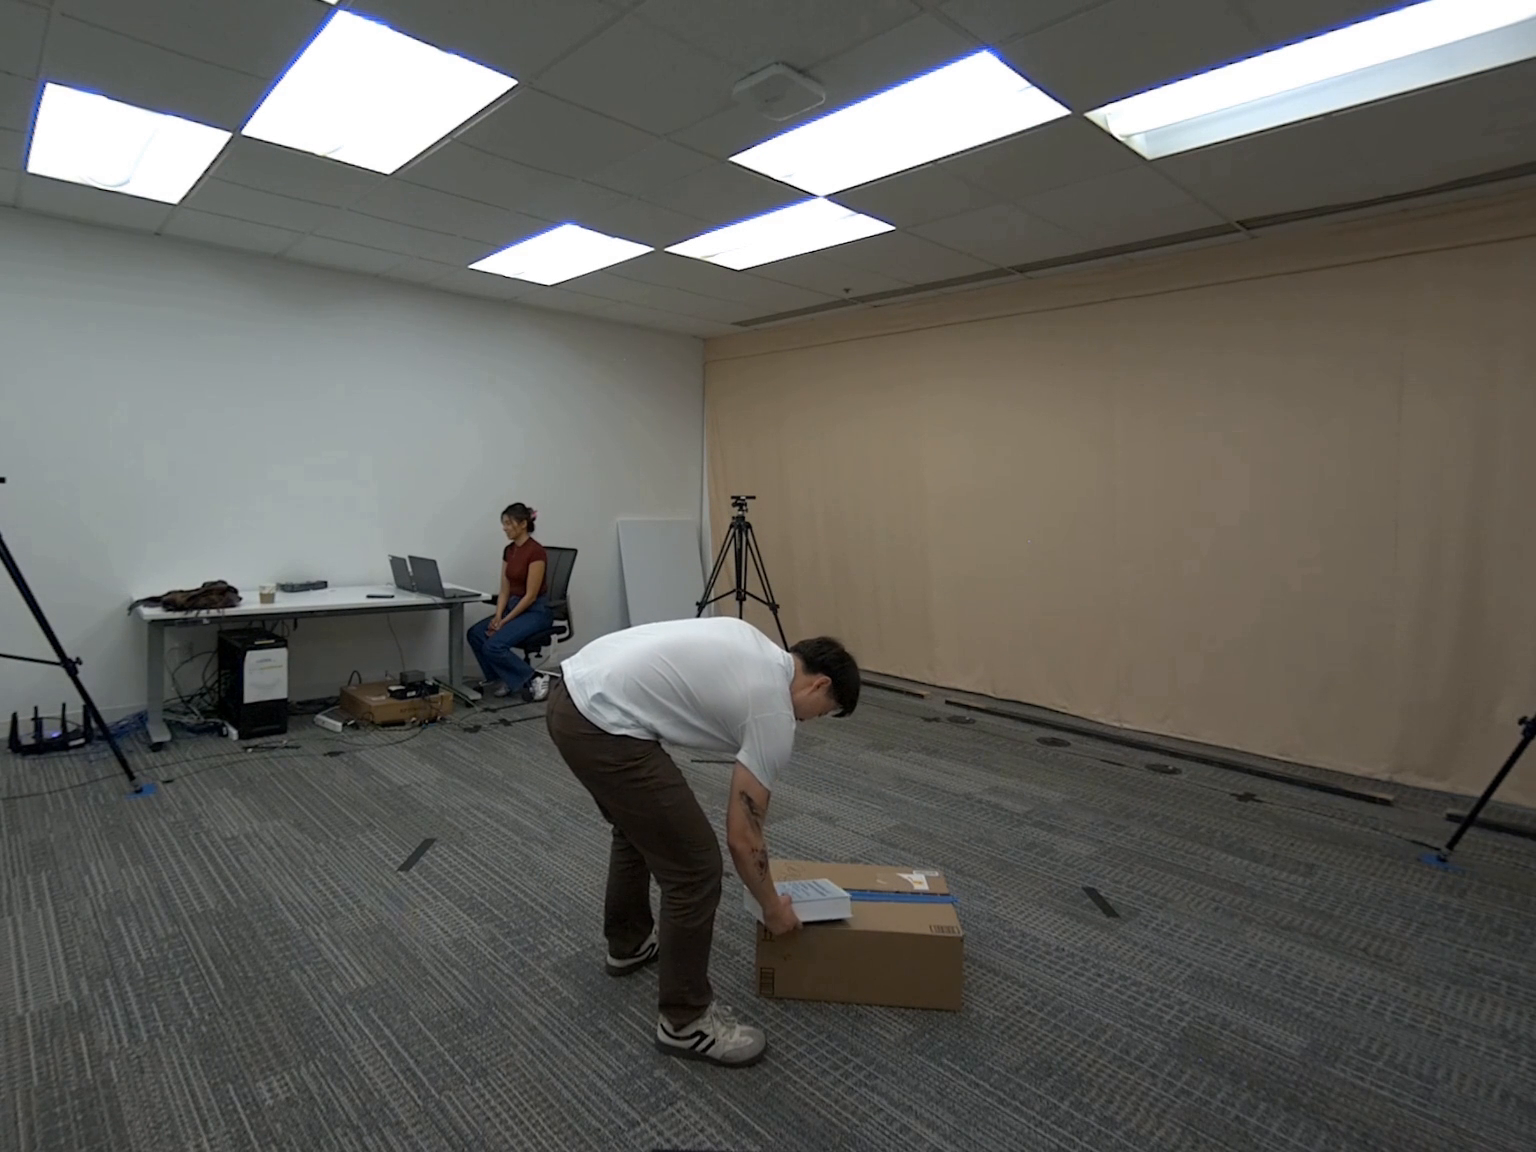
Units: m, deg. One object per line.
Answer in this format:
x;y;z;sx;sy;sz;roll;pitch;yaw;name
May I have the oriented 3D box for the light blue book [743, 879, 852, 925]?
0.078;0.922;2.374;0.257;0.059;0.193;1;-4;-18;light blue book
